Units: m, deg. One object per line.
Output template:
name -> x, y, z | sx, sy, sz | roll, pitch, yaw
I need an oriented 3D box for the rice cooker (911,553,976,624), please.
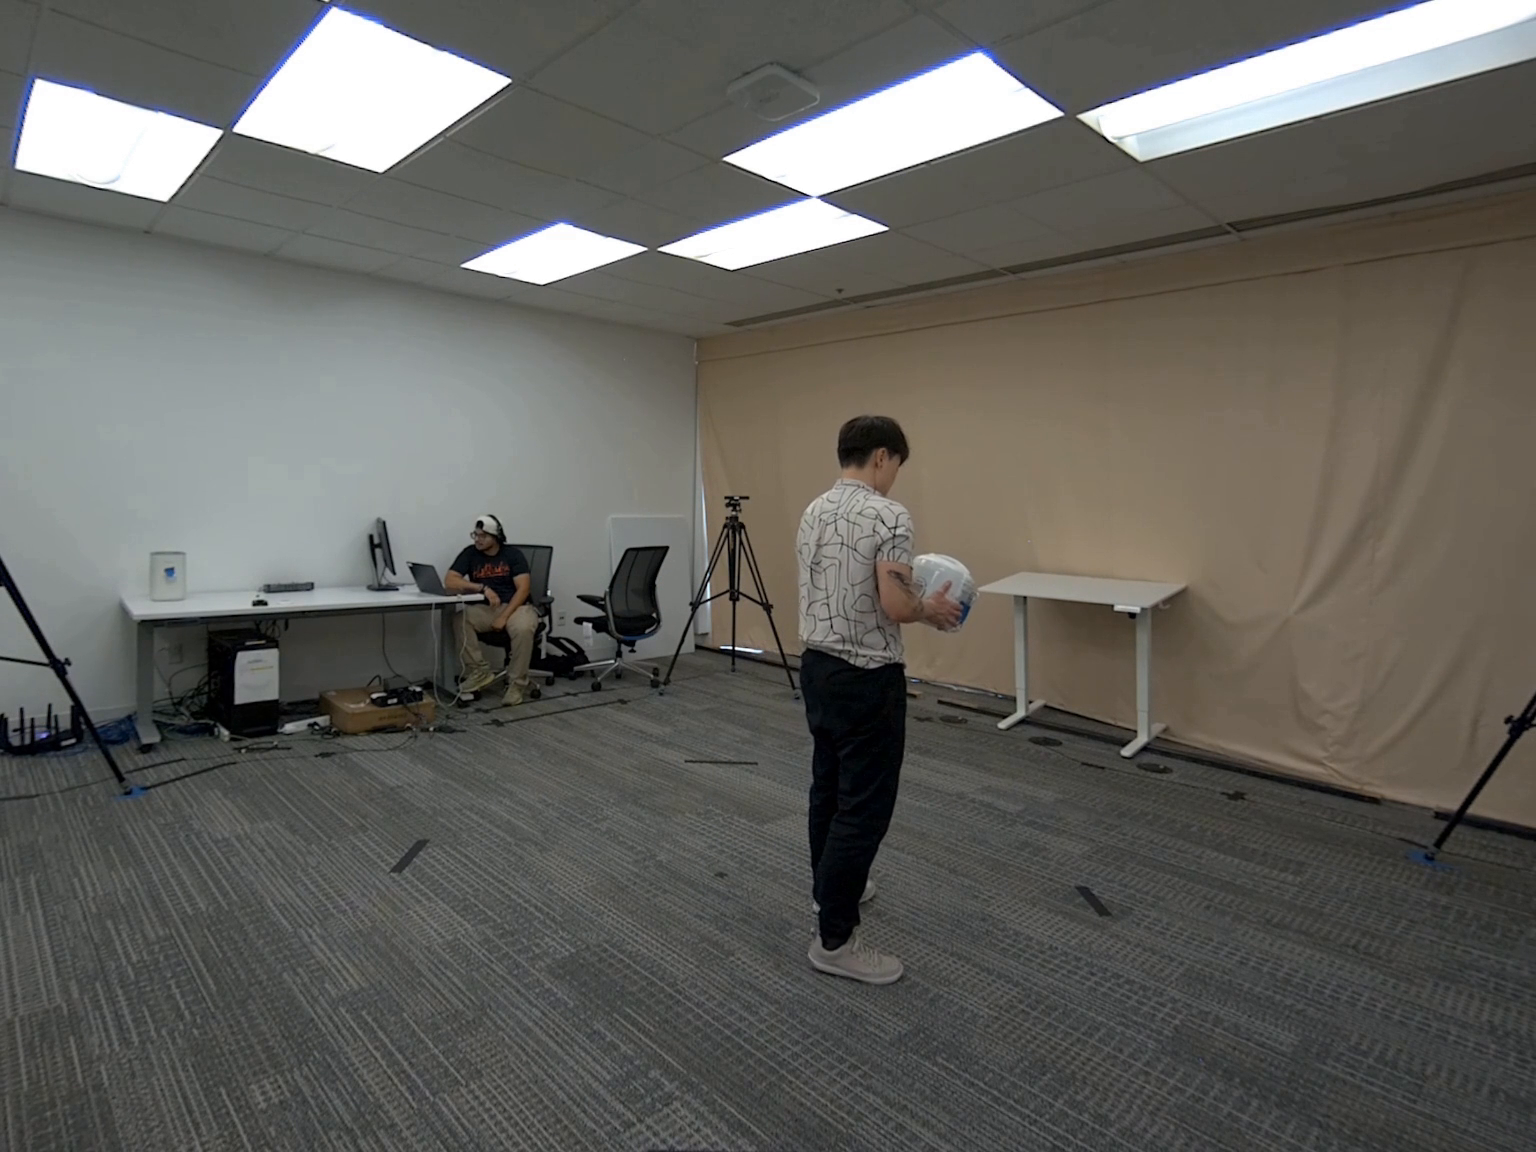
rice cooker -> 0.536, 0.040, 2.787 | 0.227, 0.233, 0.211 | 22, -4, 40
